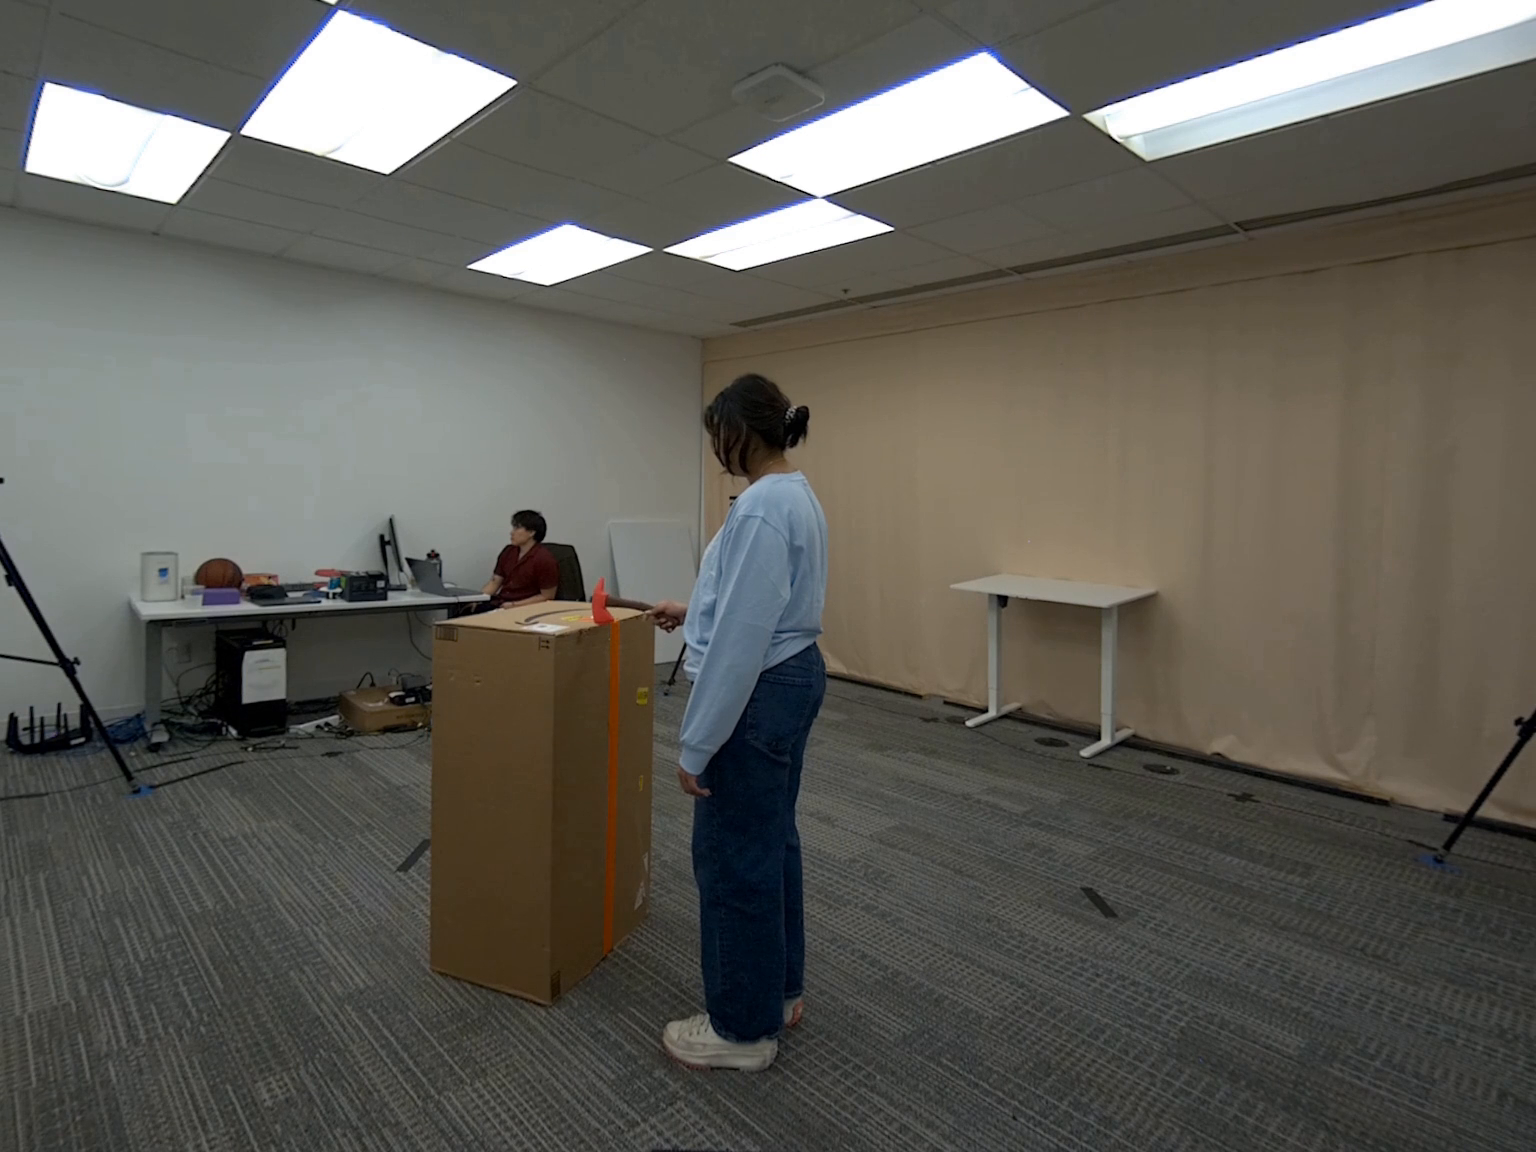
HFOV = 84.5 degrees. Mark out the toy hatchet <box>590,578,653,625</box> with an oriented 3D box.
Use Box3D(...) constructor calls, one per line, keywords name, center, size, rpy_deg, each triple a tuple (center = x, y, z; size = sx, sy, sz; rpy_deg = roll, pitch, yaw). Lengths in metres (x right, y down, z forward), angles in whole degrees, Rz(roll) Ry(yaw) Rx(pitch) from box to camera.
Box3D(name="toy hatchet", center=(-0.411, 0.108, 2.402), size=(0.271, 0.131, 0.029), rpy_deg=(24, 1, 2))
